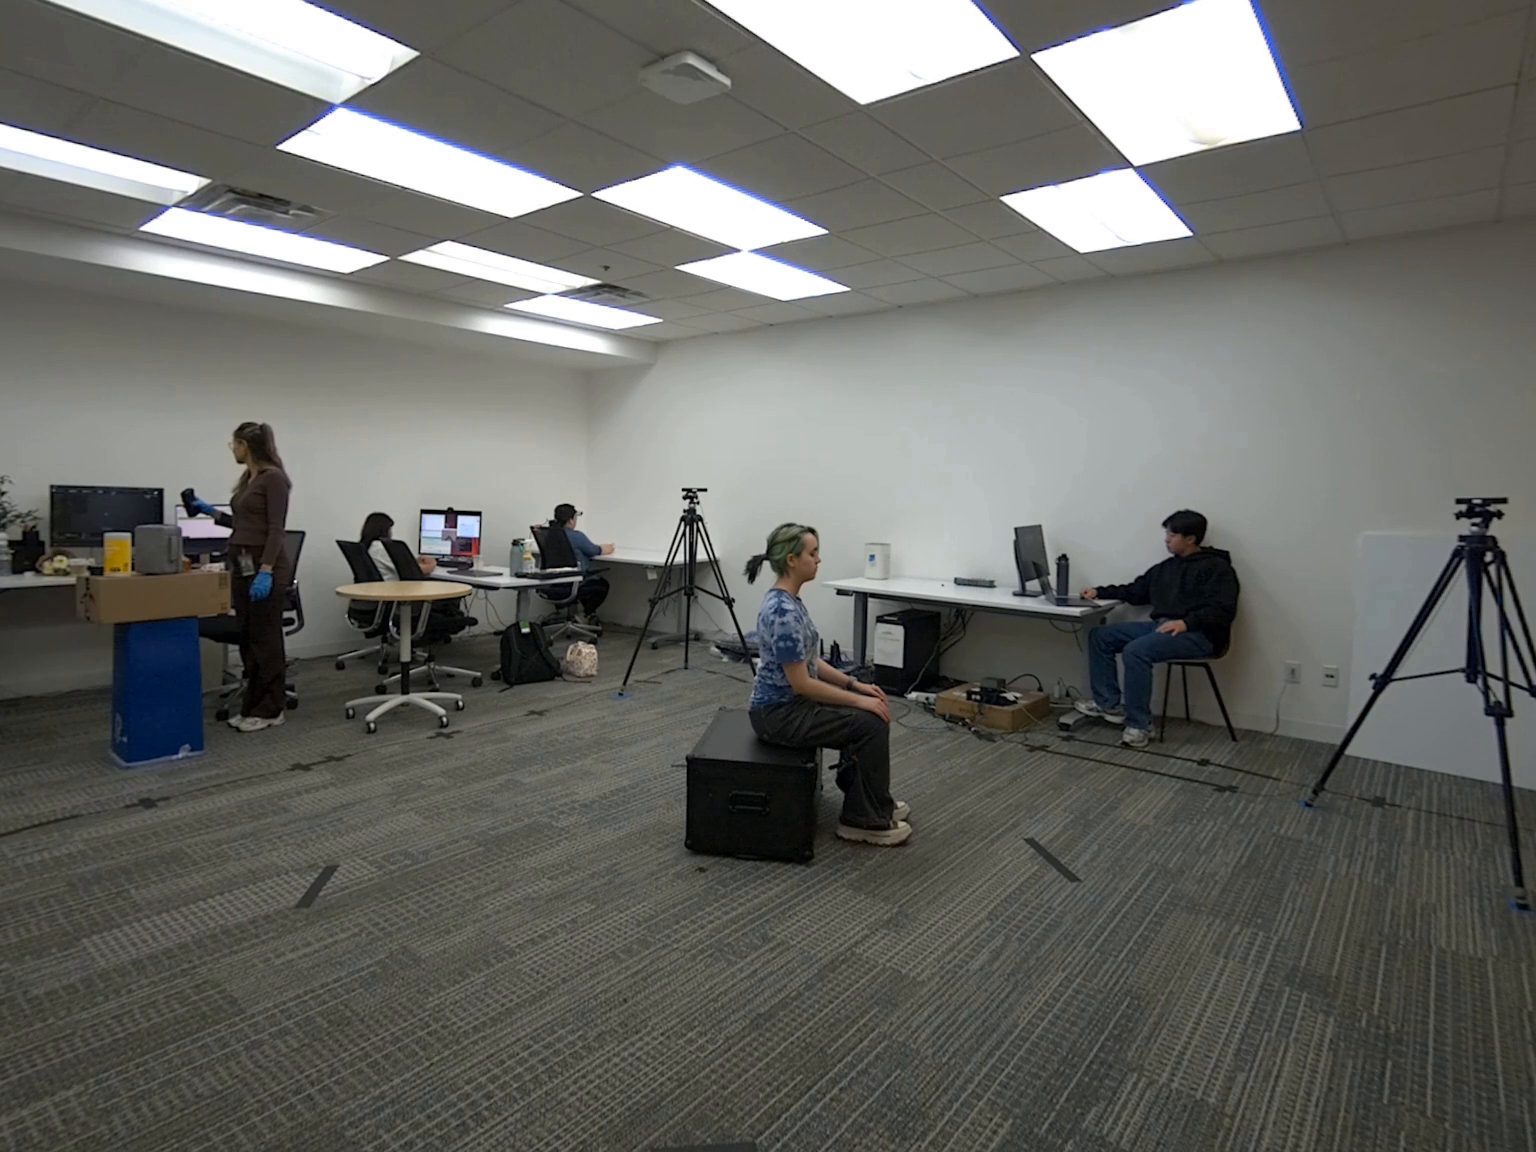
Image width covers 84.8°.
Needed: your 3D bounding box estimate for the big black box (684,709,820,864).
[{"bbox_3d":[-0.036,0.835,3.588,0.526,0.395,0.857,1,5,7],"label":"big black box"}]
